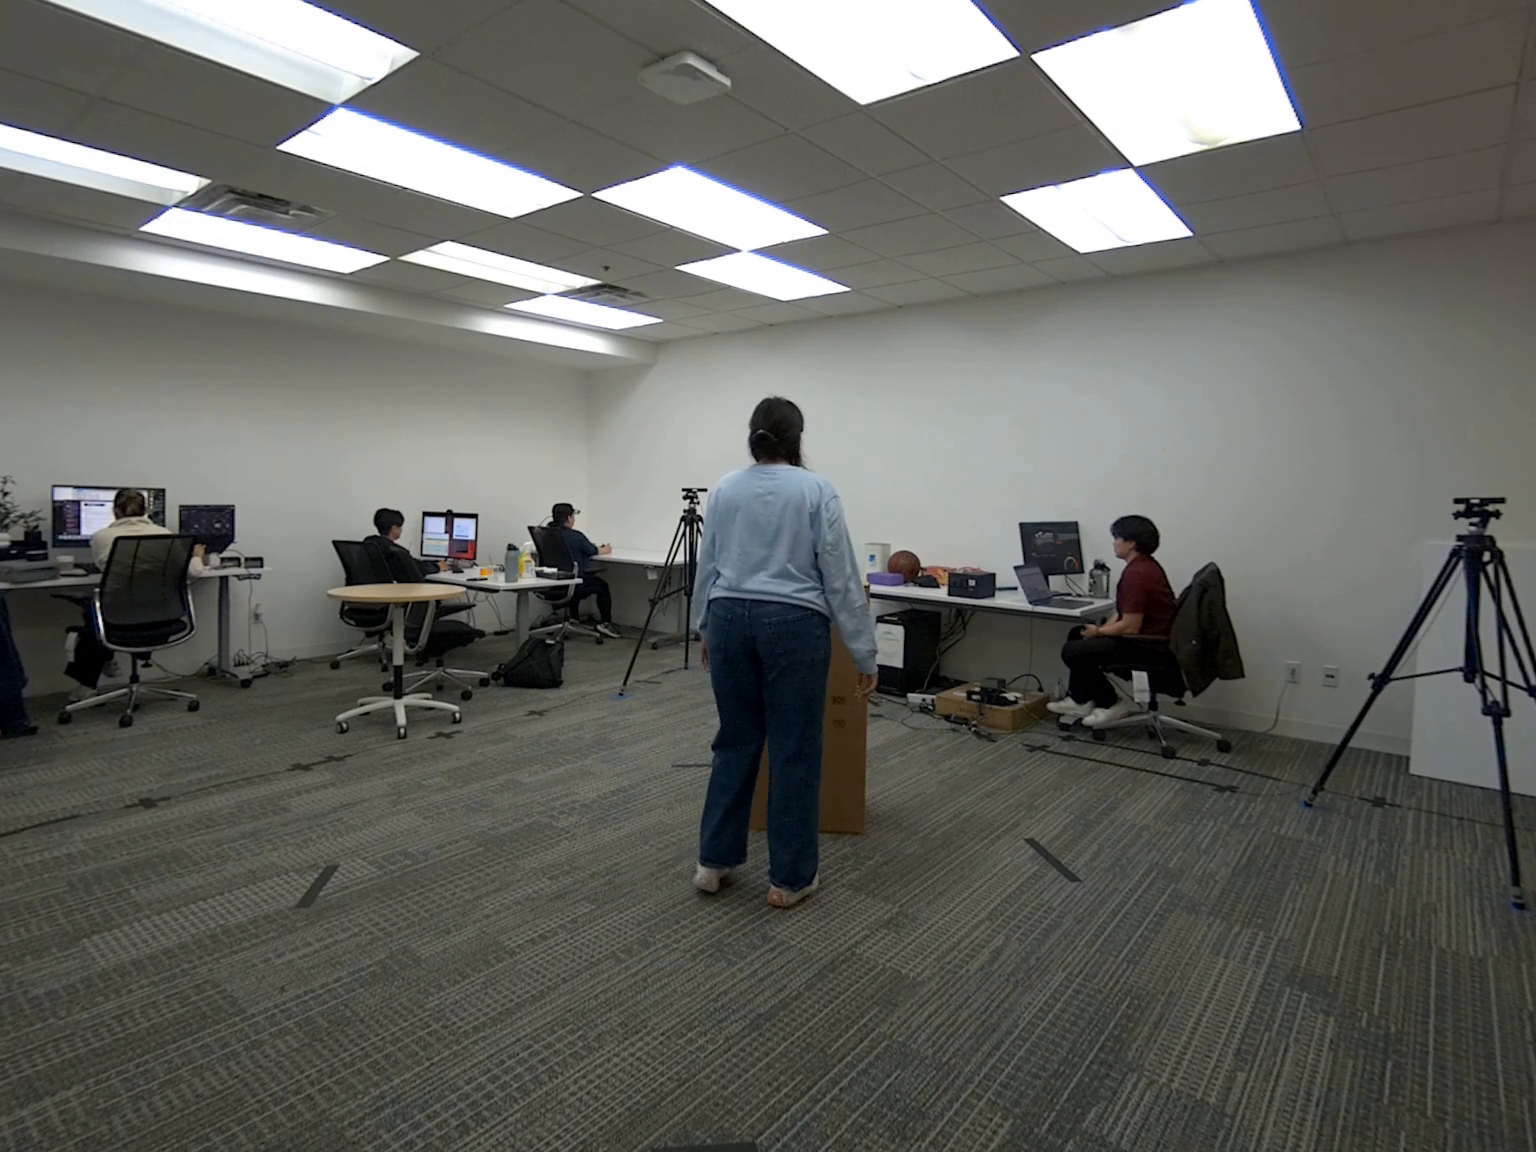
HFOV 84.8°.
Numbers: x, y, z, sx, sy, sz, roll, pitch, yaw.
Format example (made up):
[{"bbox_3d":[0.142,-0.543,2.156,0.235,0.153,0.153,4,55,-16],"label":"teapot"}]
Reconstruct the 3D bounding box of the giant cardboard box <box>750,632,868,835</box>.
[{"bbox_3d":[0.112,0.511,3.659,0.580,1.023,0.426,1,3,2],"label":"giant cardboard box"}]
